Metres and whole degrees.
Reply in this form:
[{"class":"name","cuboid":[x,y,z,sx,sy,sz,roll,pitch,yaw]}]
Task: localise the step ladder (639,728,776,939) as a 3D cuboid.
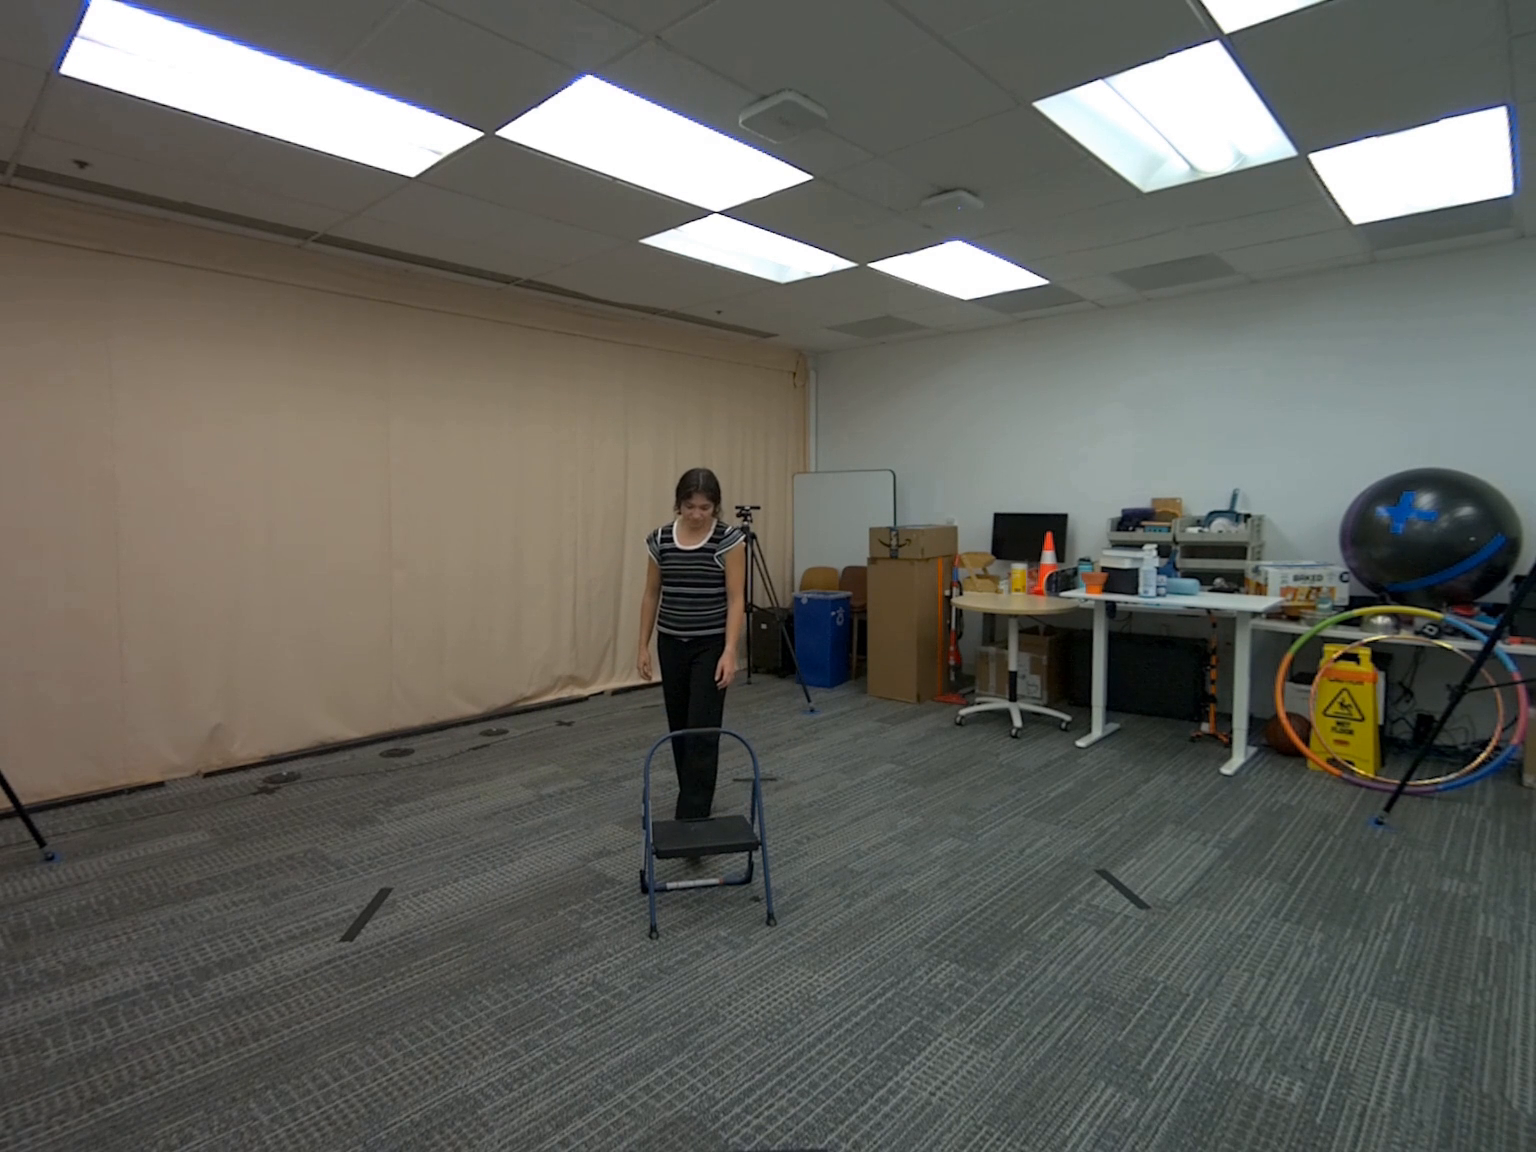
[{"class":"step ladder","cuboid":[-0.217,0.850,2.912,0.425,0.605,0.355,-1,3,-13]}]
